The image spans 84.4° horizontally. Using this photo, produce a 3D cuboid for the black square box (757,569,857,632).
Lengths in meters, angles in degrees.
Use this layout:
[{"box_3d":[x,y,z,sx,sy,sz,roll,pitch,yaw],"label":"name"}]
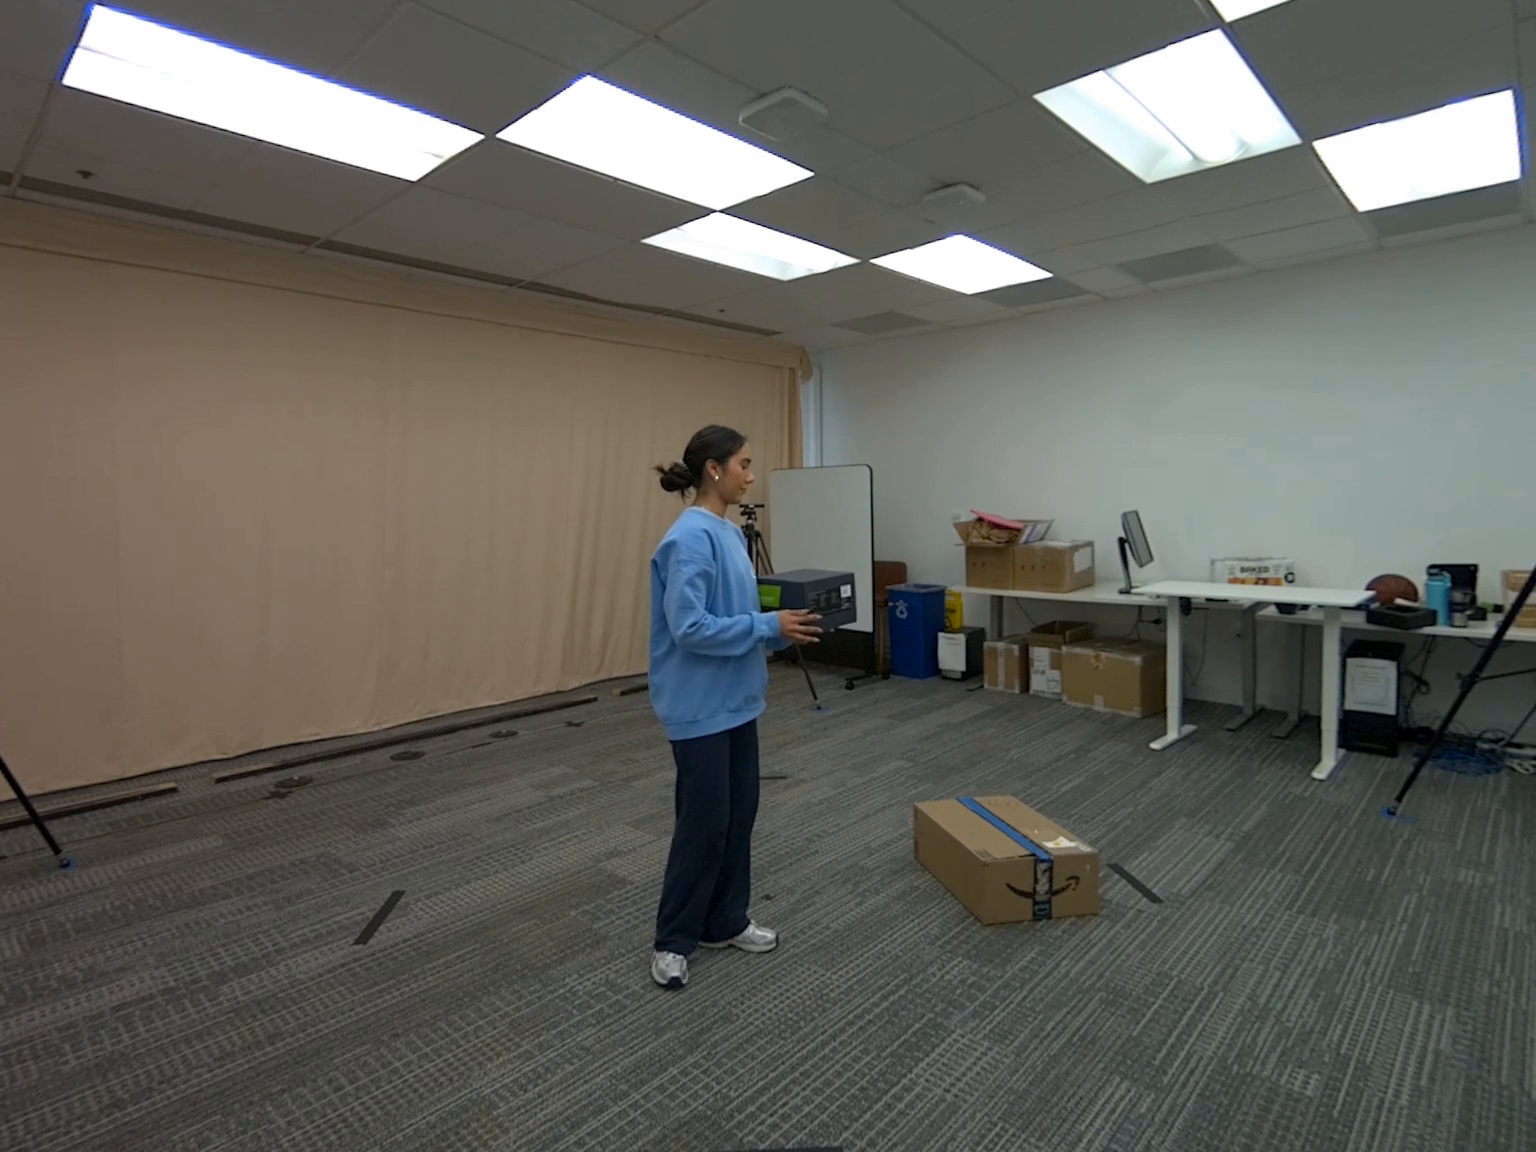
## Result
[{"box_3d":[0.116,0.075,2.599,0.211,0.155,0.235,-9,9,-37],"label":"black square box"}]
